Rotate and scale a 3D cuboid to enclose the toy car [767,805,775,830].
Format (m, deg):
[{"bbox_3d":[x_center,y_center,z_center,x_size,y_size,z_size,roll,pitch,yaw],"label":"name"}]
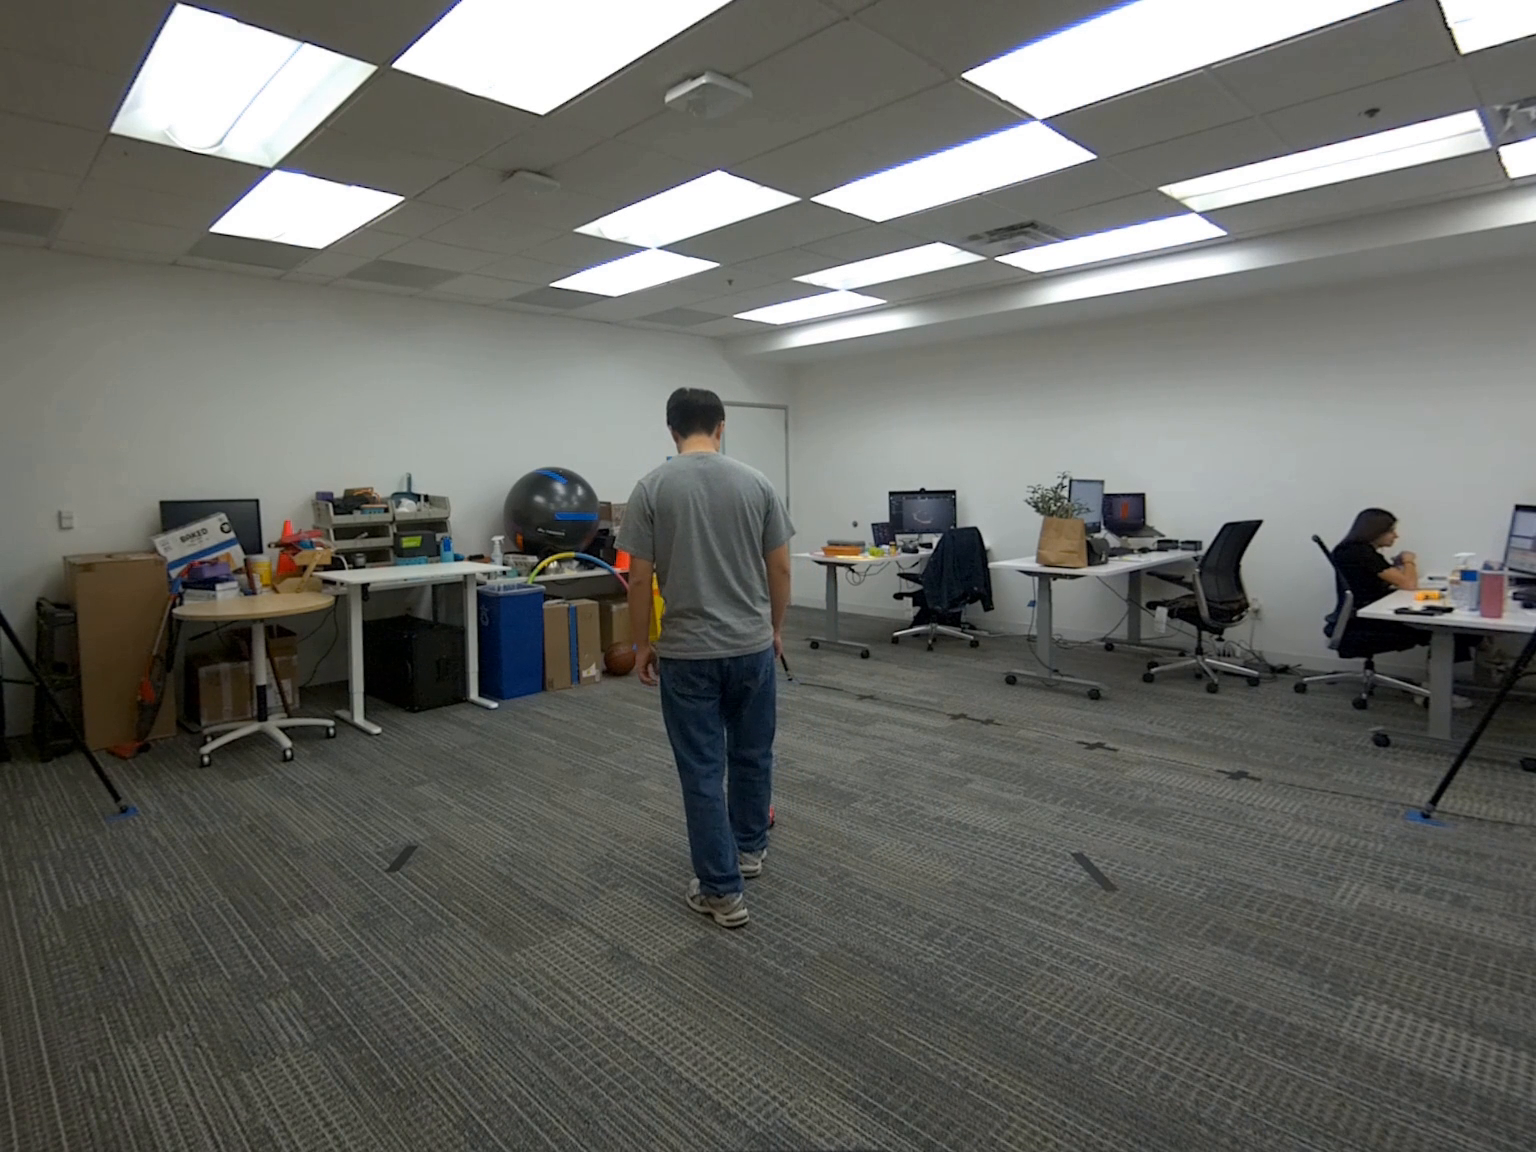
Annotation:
[{"bbox_3d":[-0.031,0.982,3.392,0.131,0.082,0.256,-1,18,9],"label":"toy car"}]
